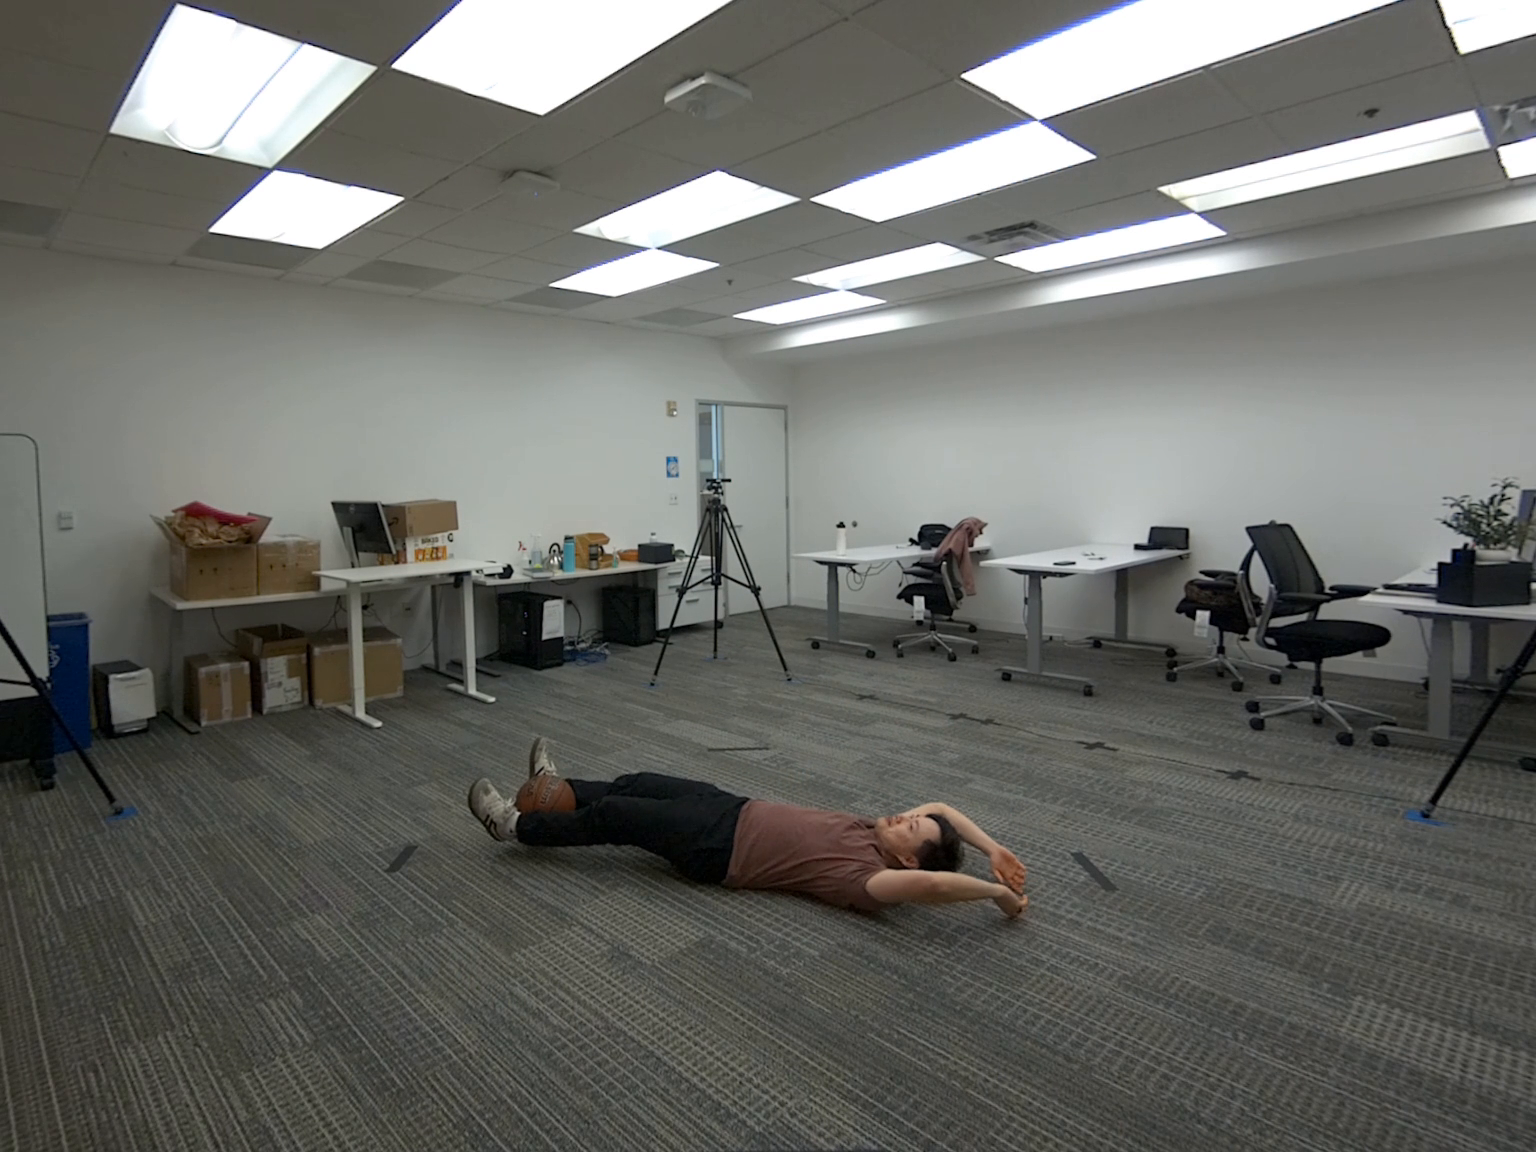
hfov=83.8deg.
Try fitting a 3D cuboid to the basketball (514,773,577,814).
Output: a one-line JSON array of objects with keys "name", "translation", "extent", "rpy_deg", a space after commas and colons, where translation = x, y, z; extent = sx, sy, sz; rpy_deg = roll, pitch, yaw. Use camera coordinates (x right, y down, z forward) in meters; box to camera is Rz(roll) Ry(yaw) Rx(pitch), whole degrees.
[{"name": "basketball", "translation": [-0.873, 0.885, 3.316], "extent": [0.236, 0.236, 0.236], "rpy_deg": [0, 1, -2]}]
